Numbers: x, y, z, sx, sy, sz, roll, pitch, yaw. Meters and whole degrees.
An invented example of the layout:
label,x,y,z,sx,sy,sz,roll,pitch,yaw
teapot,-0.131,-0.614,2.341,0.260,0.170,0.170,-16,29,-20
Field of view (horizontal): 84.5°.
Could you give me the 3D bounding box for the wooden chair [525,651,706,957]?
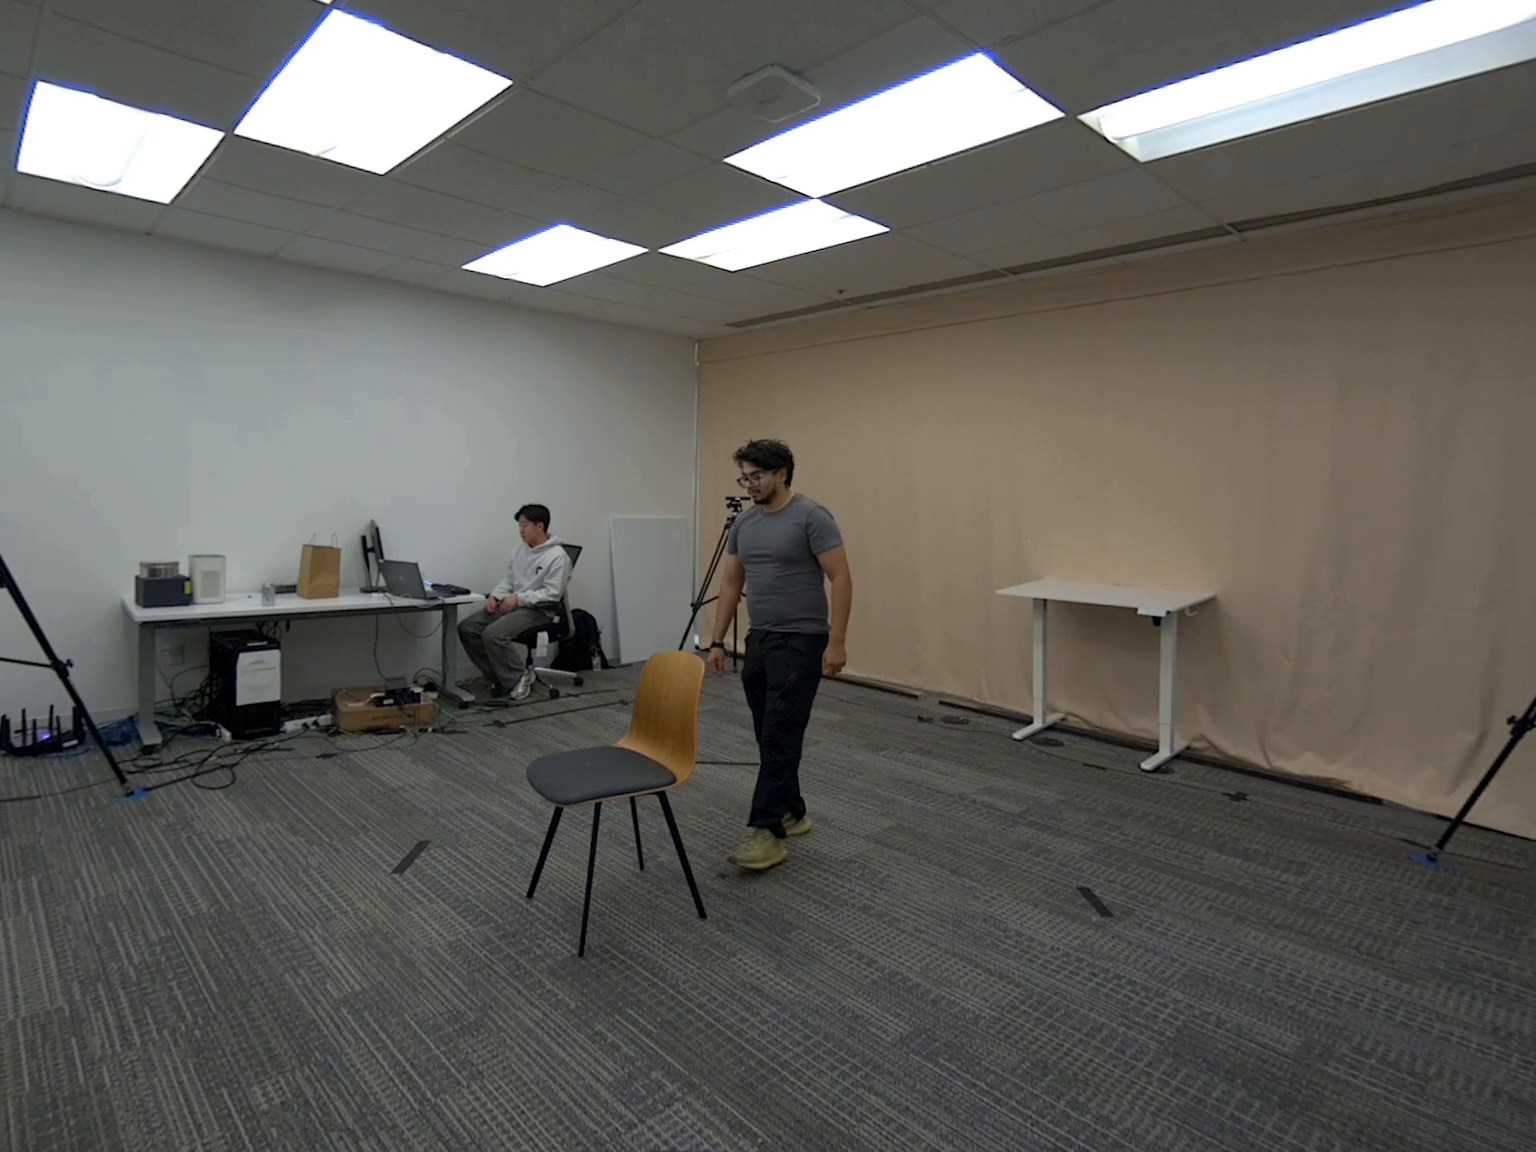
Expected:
label,x,y,z,sx,sy,sz,roll,pitch,yaw
wooden chair,-0.519,0.700,2.807,0.511,0.877,0.490,4,1,-35
